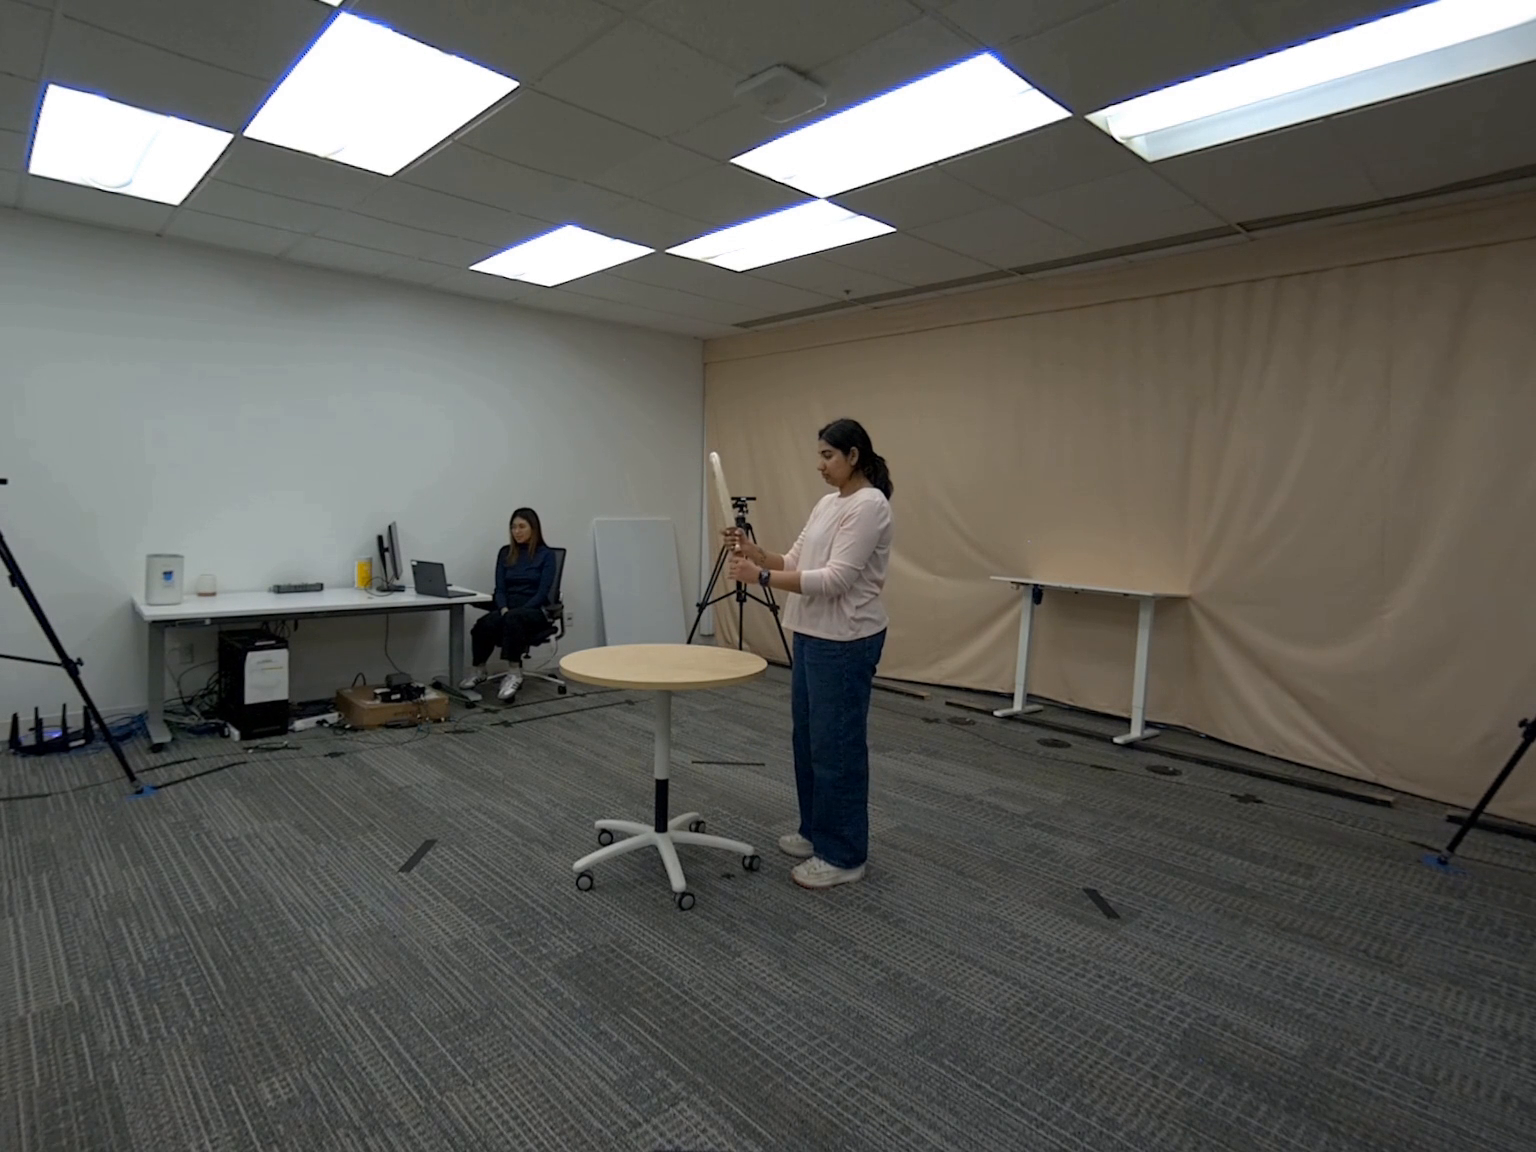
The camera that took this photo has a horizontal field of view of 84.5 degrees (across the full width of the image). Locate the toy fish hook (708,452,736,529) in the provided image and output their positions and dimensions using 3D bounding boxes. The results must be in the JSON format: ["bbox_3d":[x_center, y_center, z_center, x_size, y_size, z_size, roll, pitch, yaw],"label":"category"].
[{"bbox_3d":[-0.154,-0.210,3.115,0.048,0.512,0.223,-12,-12,-5],"label":"toy fish hook"}]
